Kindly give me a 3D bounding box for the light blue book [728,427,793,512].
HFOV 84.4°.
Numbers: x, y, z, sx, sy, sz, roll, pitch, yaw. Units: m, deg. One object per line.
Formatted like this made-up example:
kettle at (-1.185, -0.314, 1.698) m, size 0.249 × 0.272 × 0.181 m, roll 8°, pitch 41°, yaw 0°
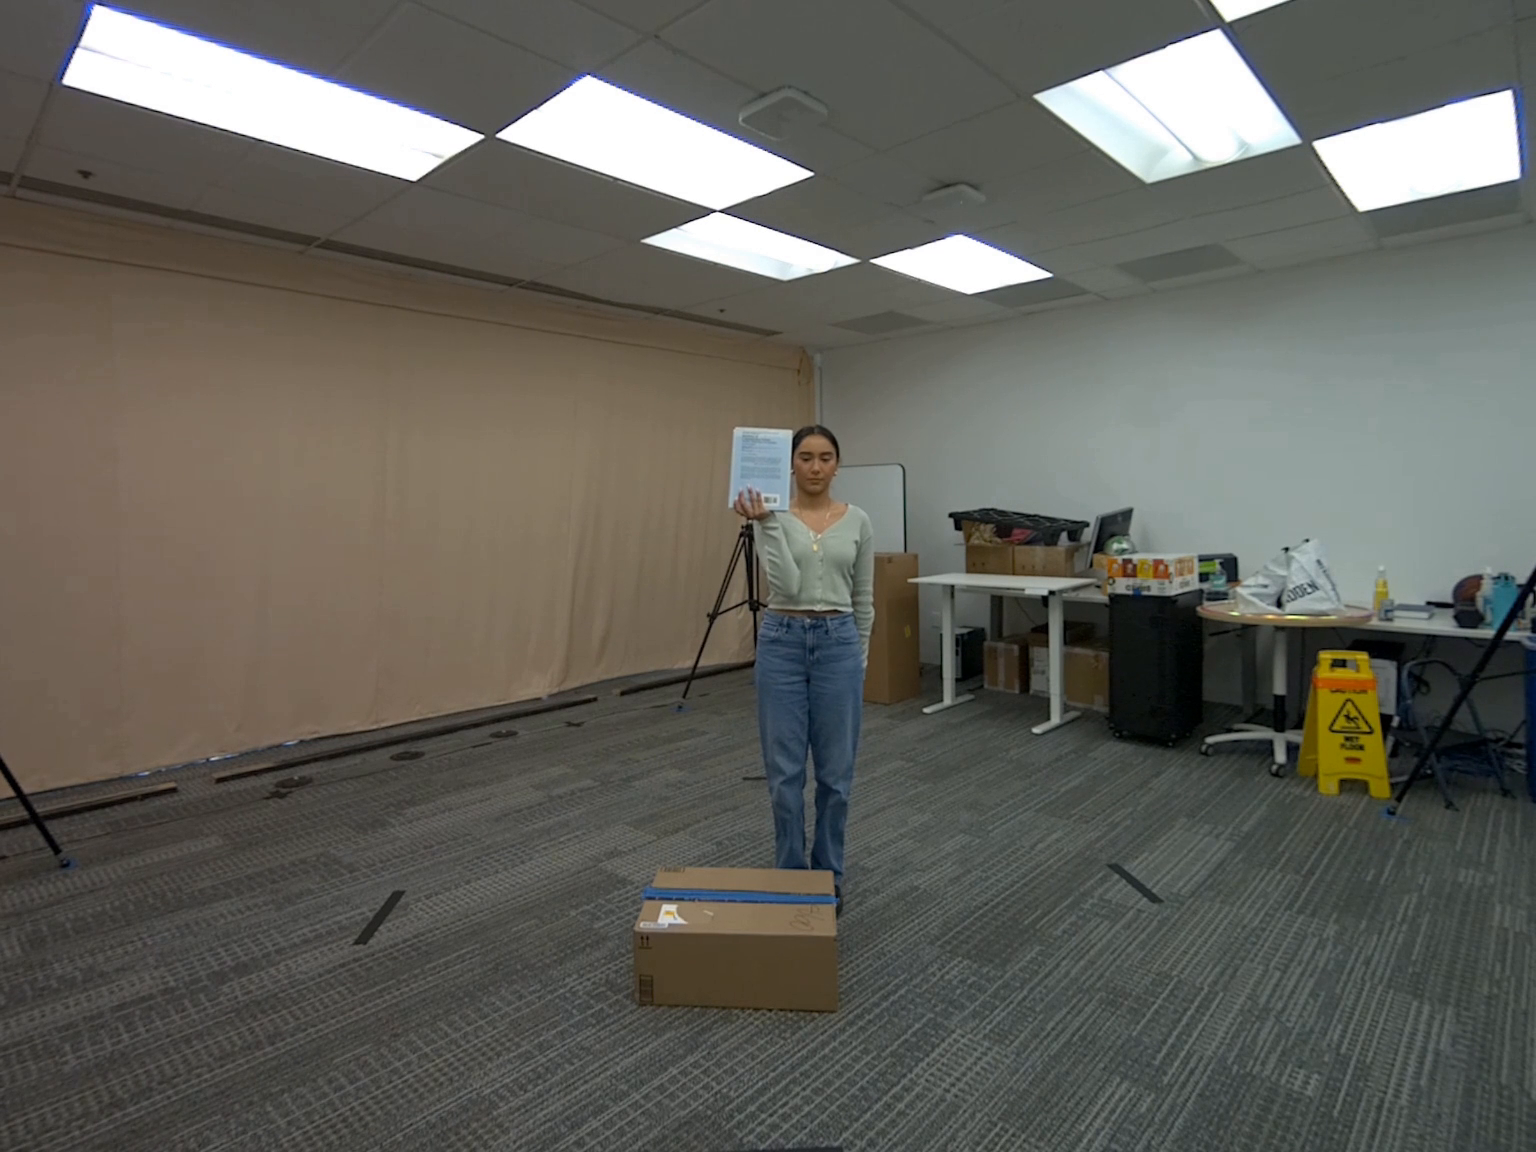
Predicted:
light blue book at (-0.020, -0.347, 2.733) m, size 0.191 × 0.261 × 0.059 m, roll 4°, pitch -3°, yaw -3°
